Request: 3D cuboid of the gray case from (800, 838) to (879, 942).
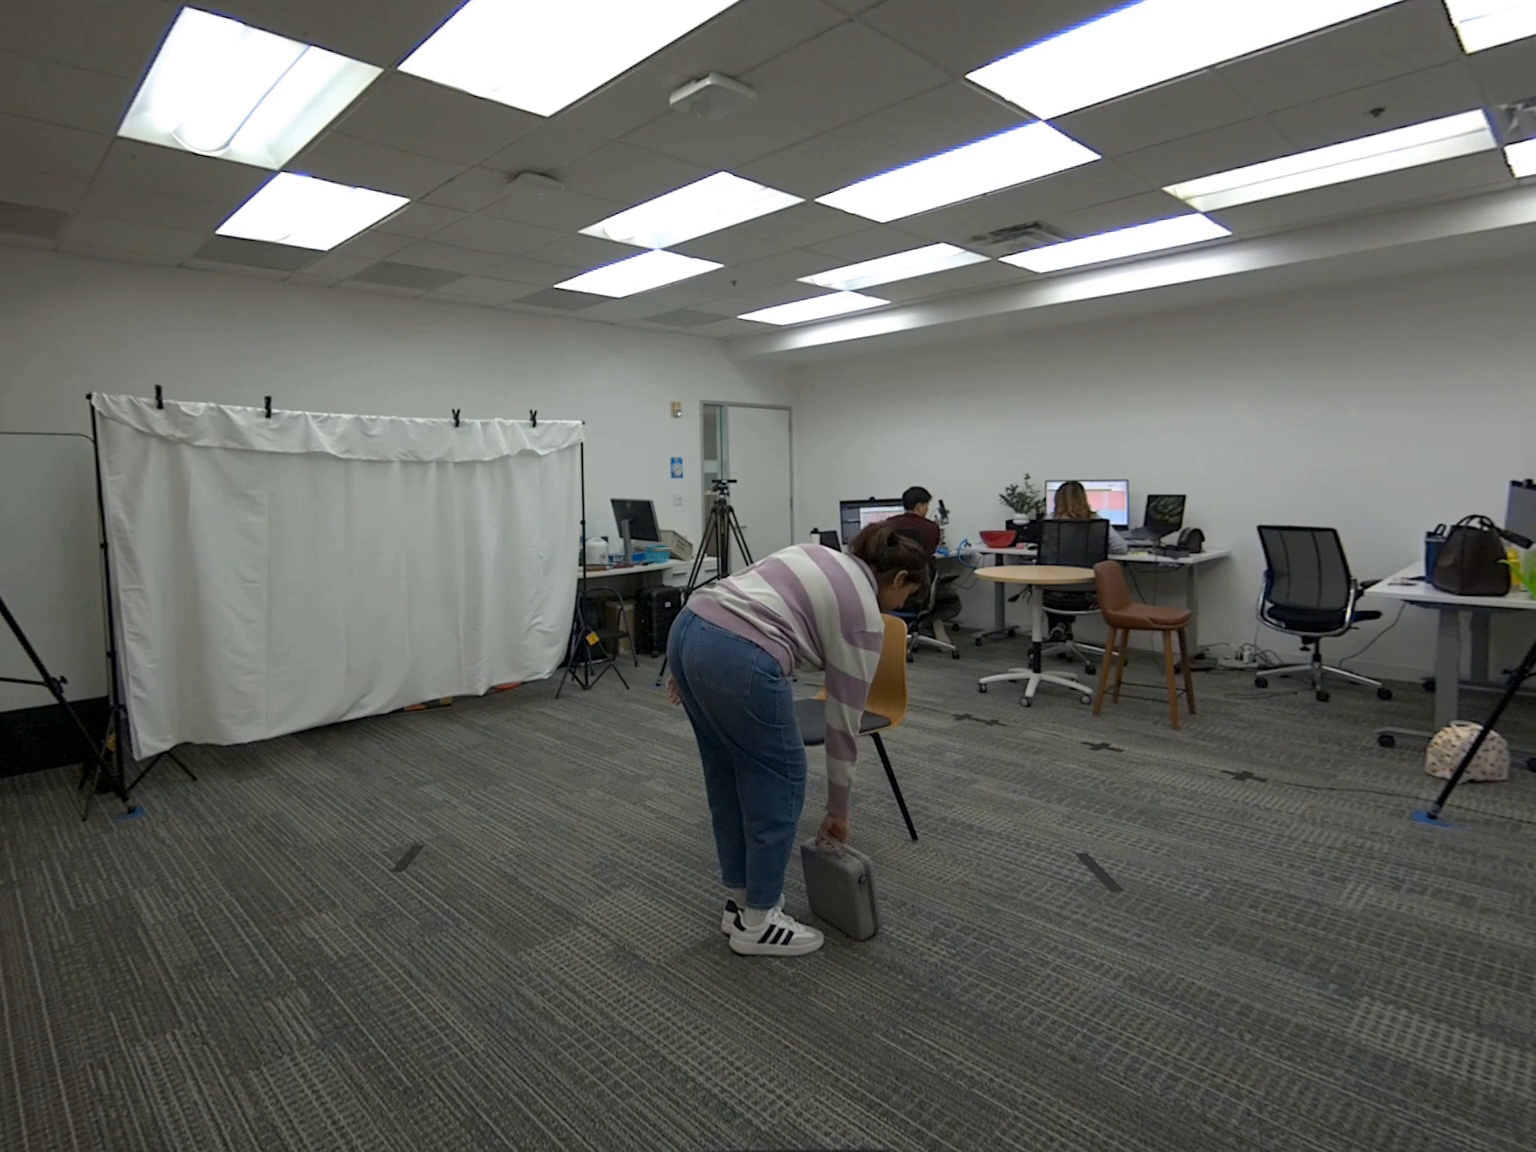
[{"bbox_3d":[0.229,0.954,2.663,0.102,0.259,0.264,-9,8,-28],"label":"gray case"}]
